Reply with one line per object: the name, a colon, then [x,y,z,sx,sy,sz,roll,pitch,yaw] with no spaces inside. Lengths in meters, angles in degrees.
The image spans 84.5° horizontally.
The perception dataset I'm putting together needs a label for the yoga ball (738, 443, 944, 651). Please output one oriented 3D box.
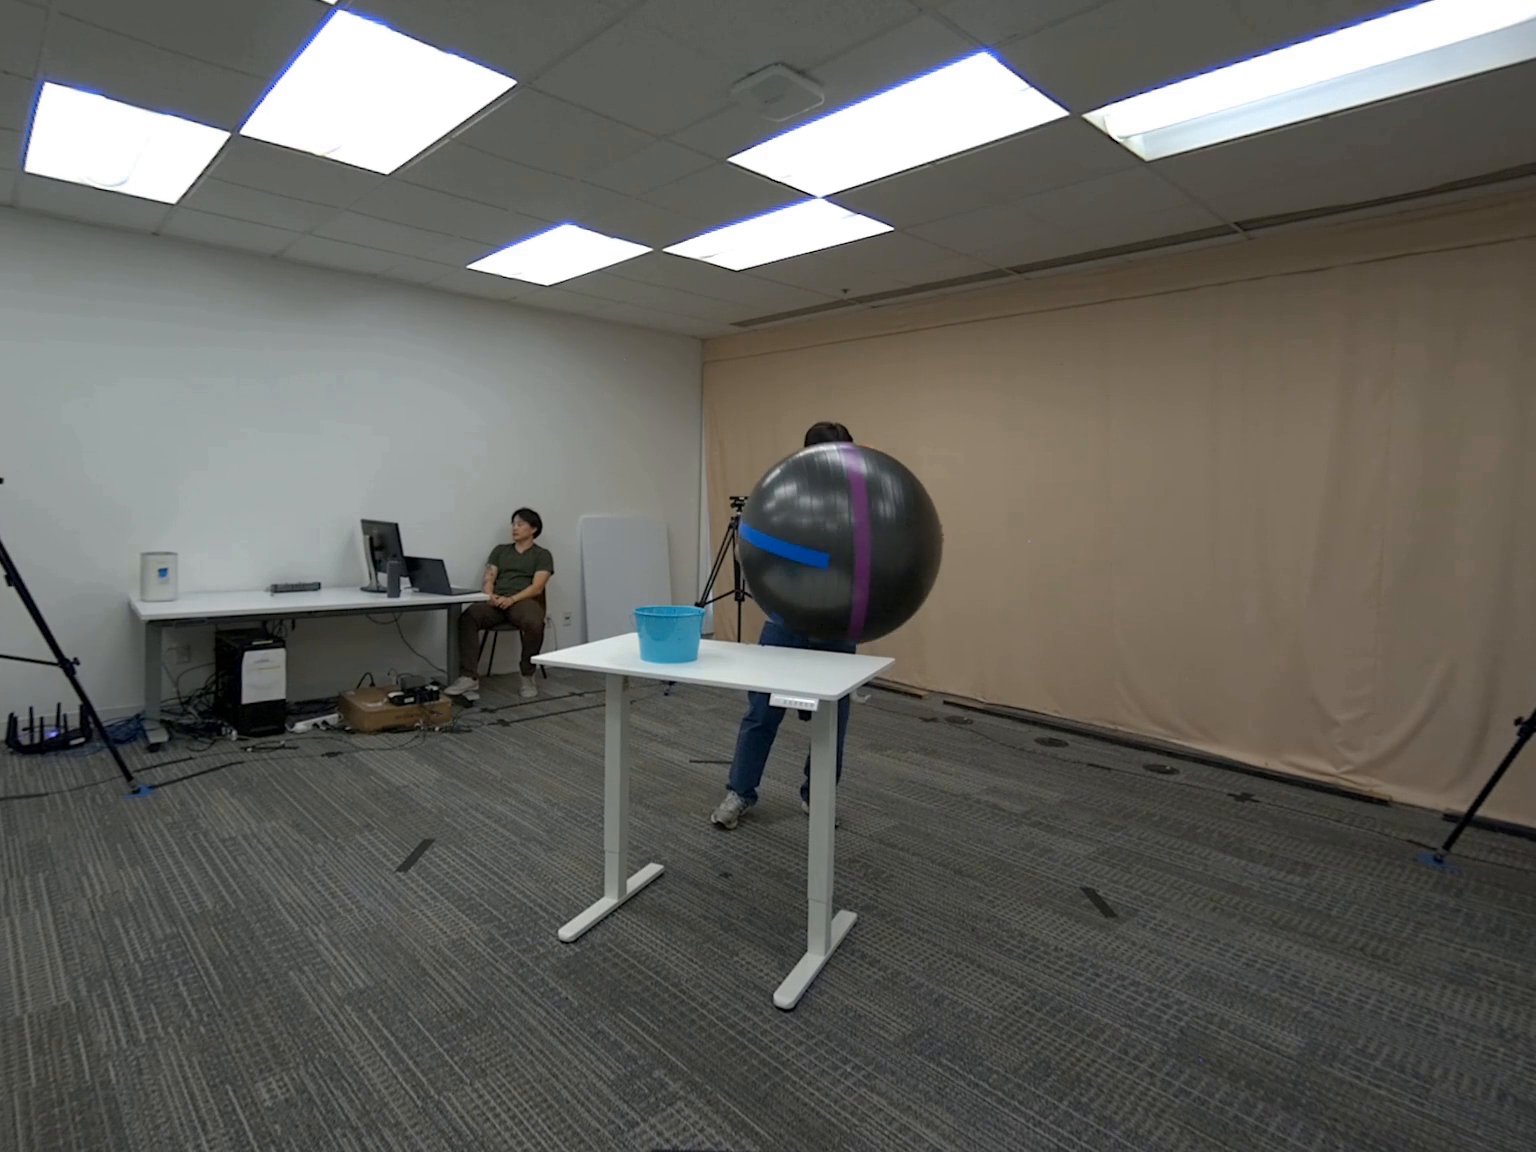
yoga ball: [0.264,-0.117,3.168,0.757,0.756,0.761,1,4,-1]
